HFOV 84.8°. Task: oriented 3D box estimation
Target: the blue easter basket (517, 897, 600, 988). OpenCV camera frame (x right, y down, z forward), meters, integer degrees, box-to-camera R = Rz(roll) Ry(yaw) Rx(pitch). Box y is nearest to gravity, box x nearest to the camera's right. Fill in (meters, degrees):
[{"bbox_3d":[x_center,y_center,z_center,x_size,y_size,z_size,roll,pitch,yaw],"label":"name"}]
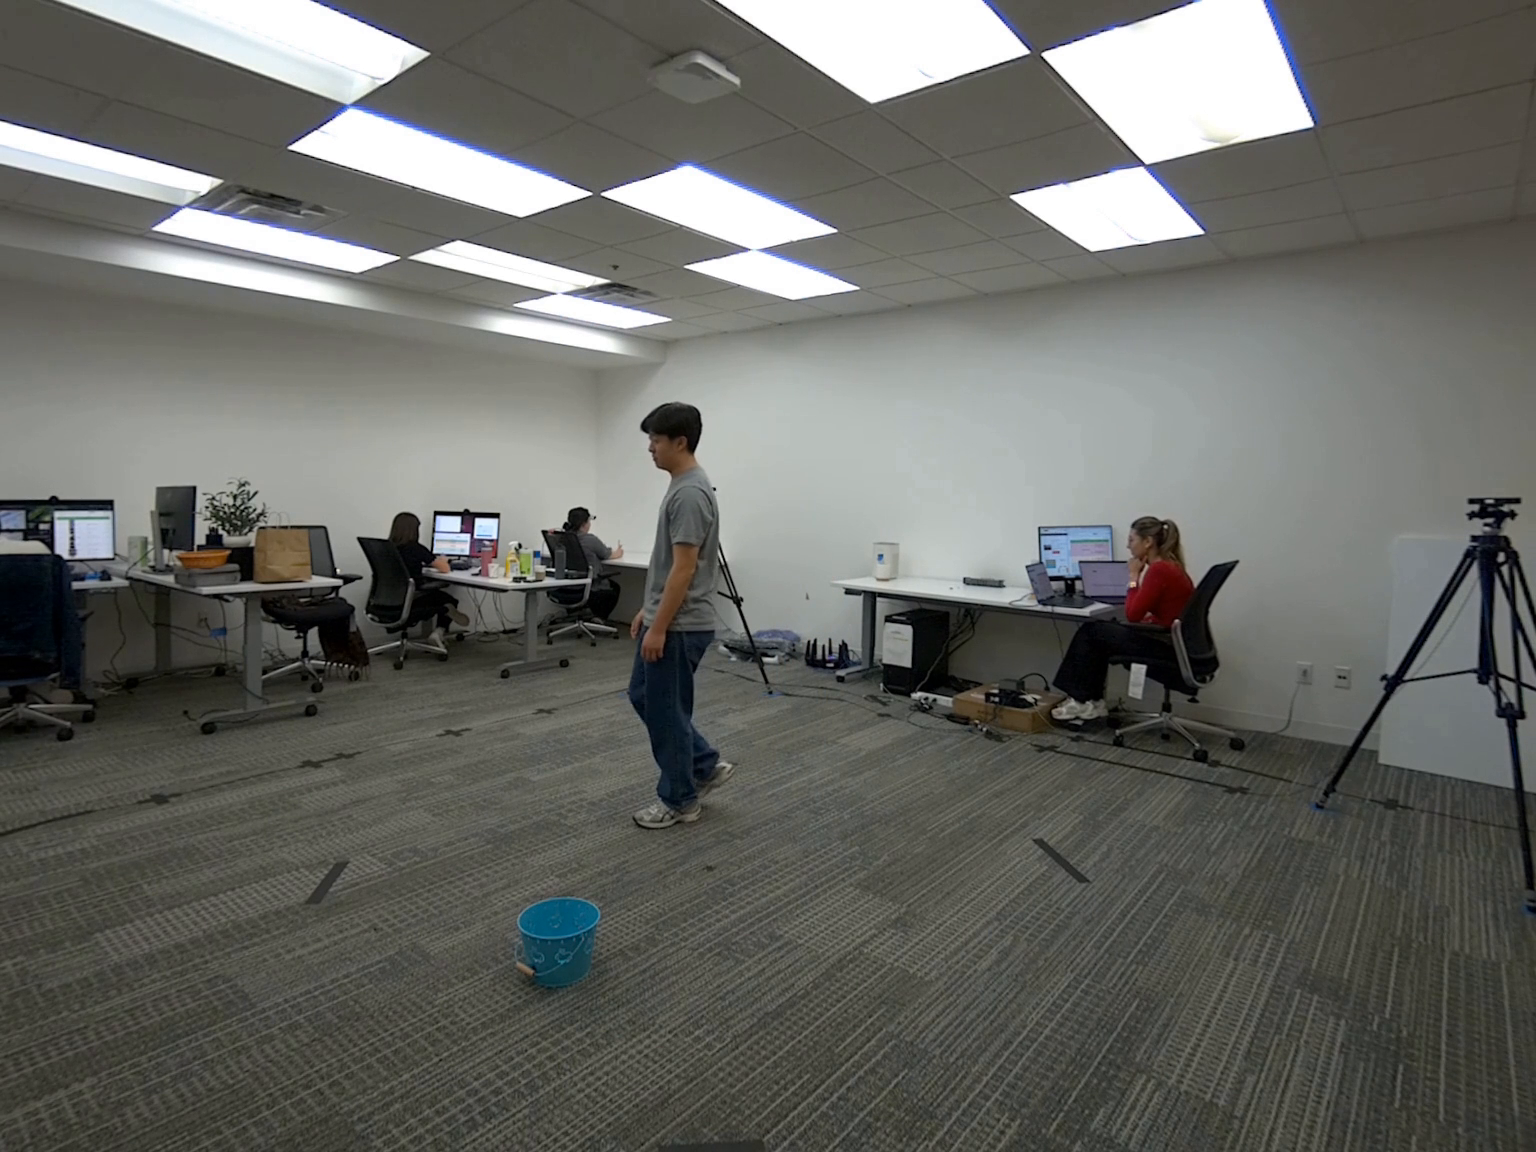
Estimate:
[{"bbox_3d":[-0.614,1.045,2.441,0.243,0.155,0.245,2,5,-2],"label":"blue easter basket"}]
